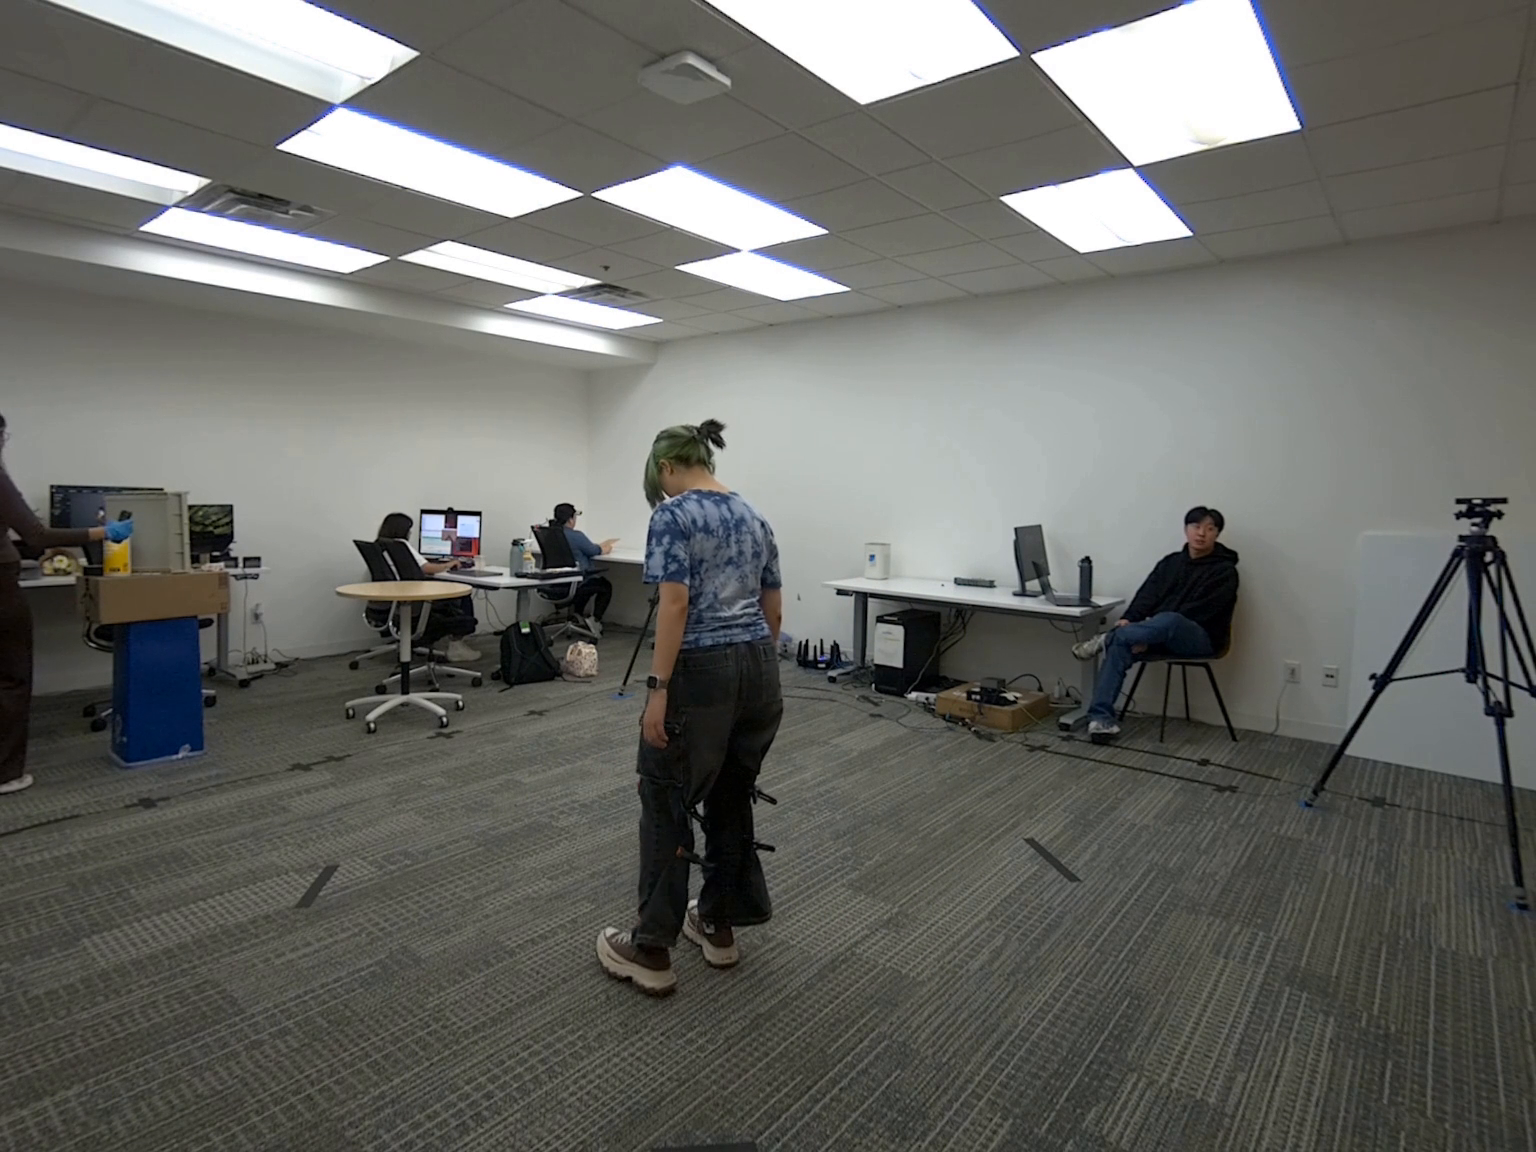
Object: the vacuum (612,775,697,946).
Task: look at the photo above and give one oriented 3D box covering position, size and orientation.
[{"bbox_3d":[-0.396,0.998,3.107,0.252,0.143,1.058,2,7,-5],"label":"vacuum"}]
